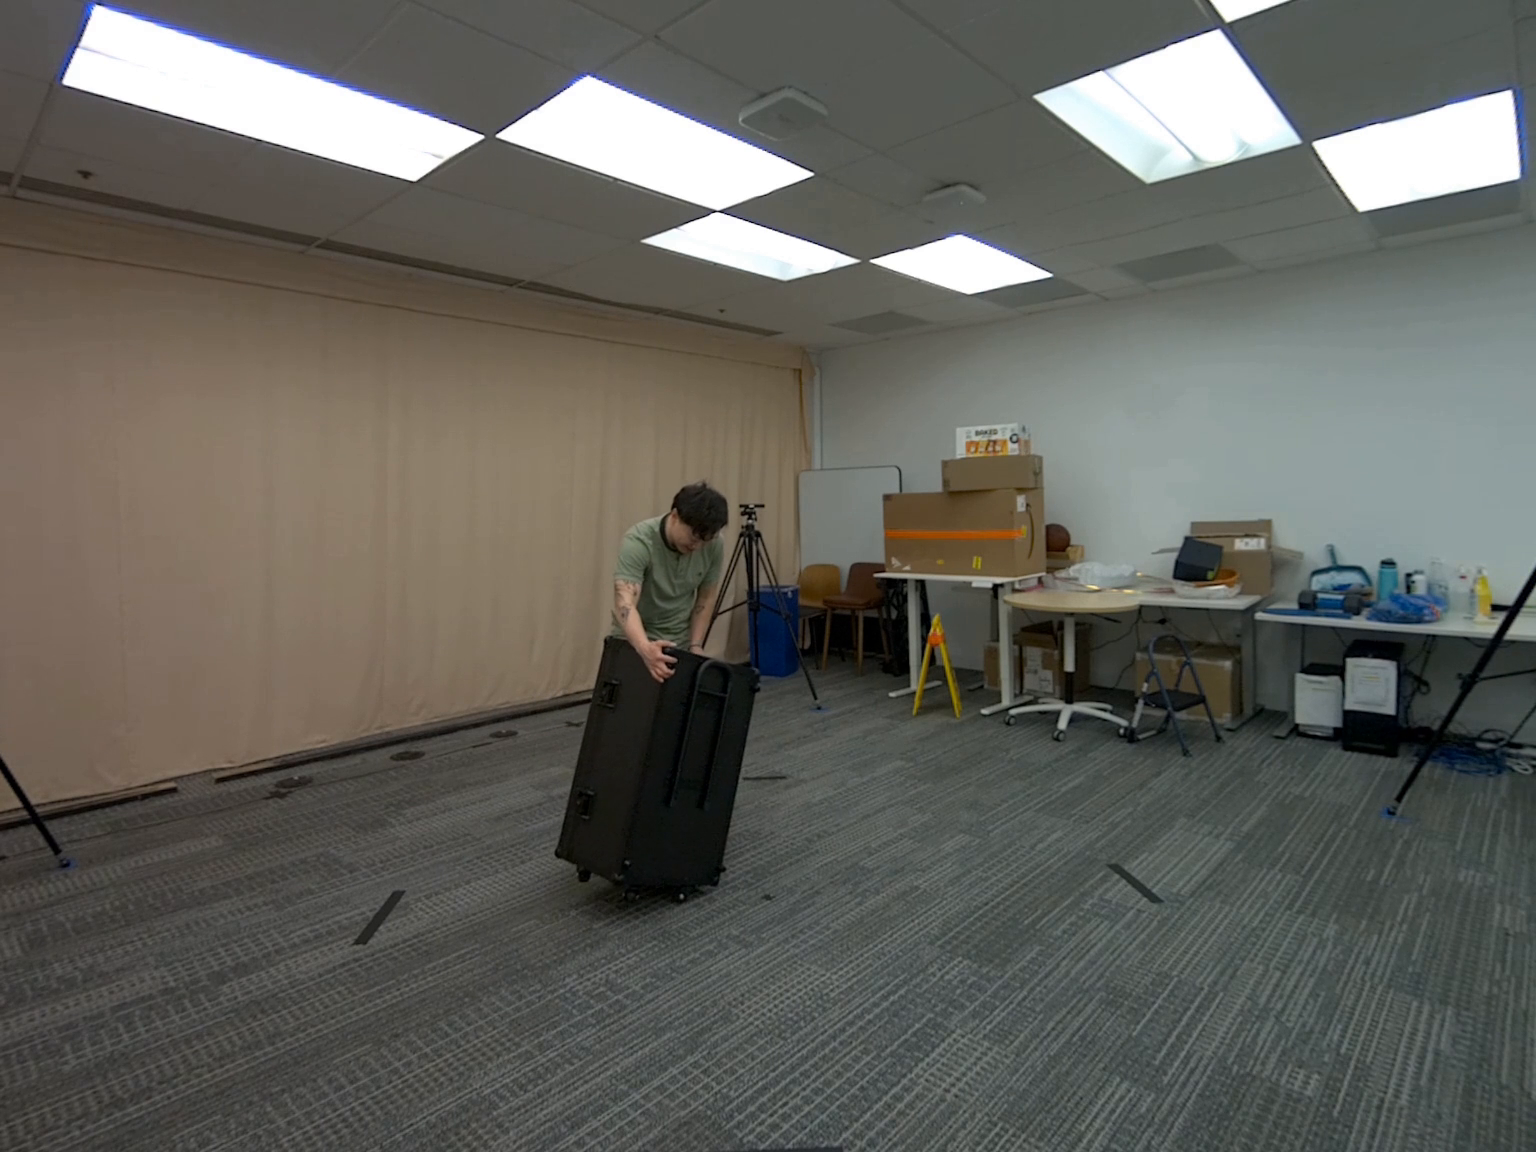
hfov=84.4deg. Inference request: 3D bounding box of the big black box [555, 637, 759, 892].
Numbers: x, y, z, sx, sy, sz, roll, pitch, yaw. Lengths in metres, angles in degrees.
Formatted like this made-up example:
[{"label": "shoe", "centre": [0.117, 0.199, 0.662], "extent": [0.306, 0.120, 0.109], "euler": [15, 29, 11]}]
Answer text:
[{"label": "big black box", "centre": [-0.378, 0.704, 3.044], "extent": [0.409, 0.864, 0.502], "euler": [3, -13, 45]}]
